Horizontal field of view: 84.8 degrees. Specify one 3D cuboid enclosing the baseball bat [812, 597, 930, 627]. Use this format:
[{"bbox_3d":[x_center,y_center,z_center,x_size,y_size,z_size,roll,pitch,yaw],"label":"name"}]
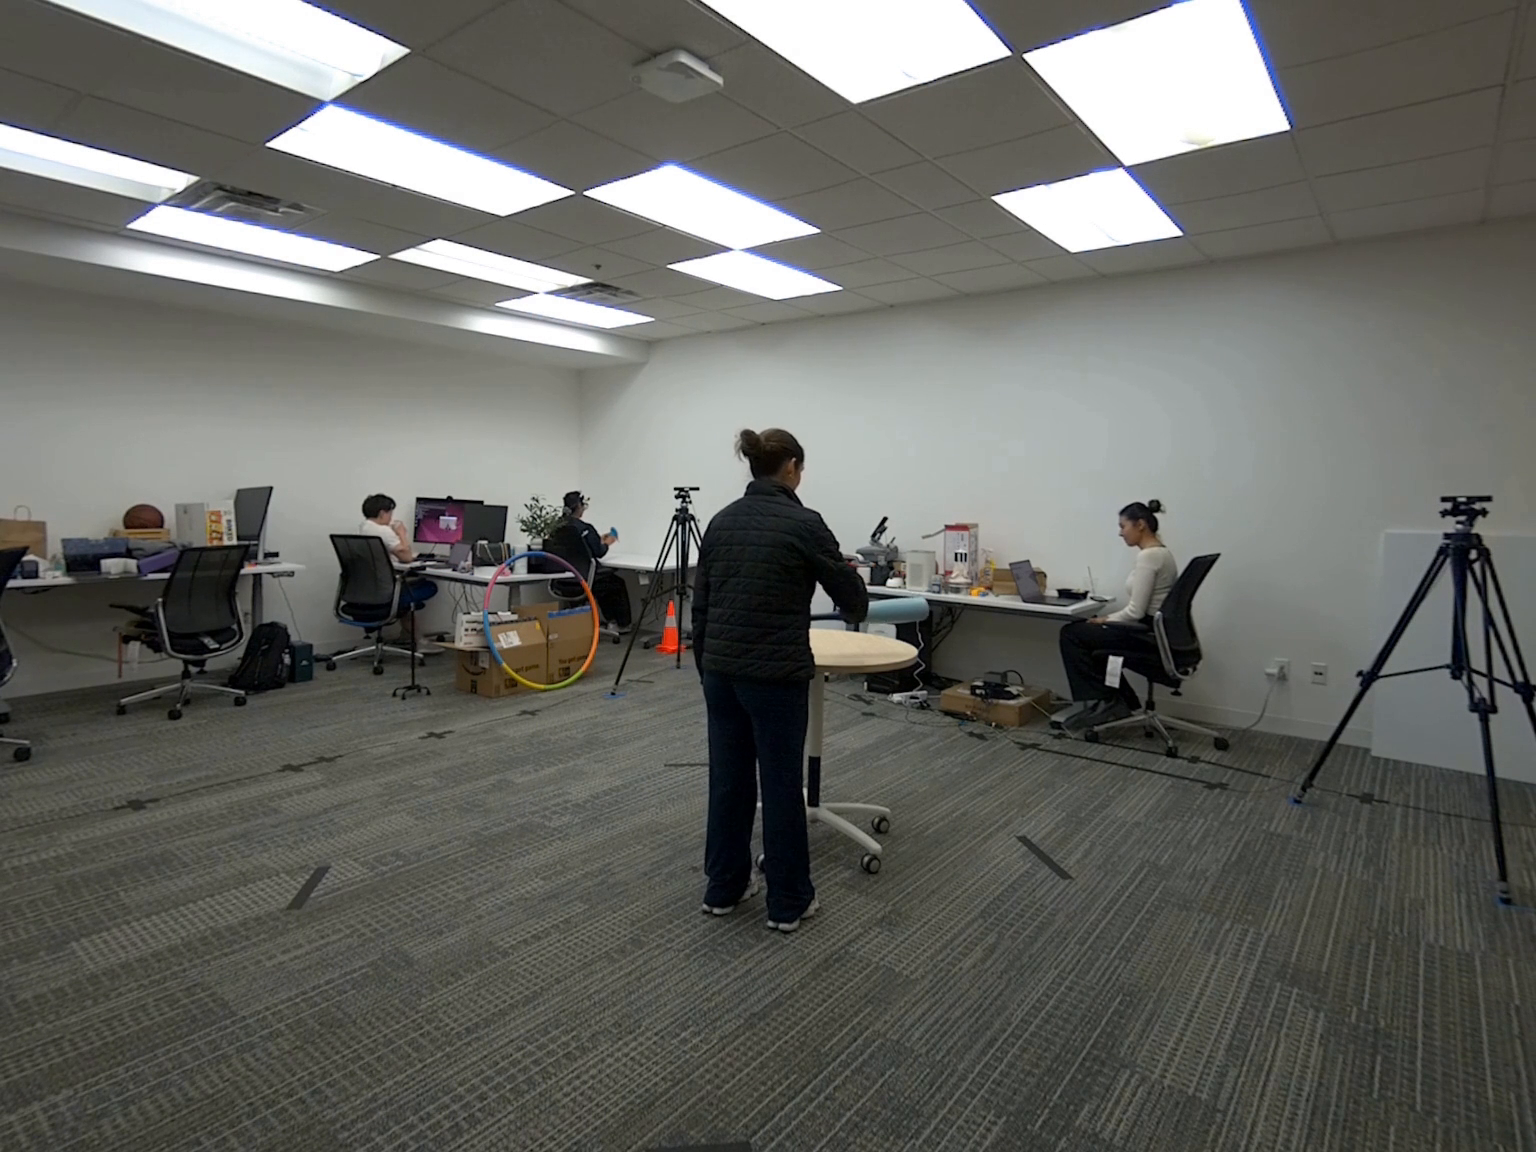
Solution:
[{"bbox_3d":[0.333,0.138,3.114,0.538,0.089,0.090,-5,5,-9],"label":"baseball bat"}]
